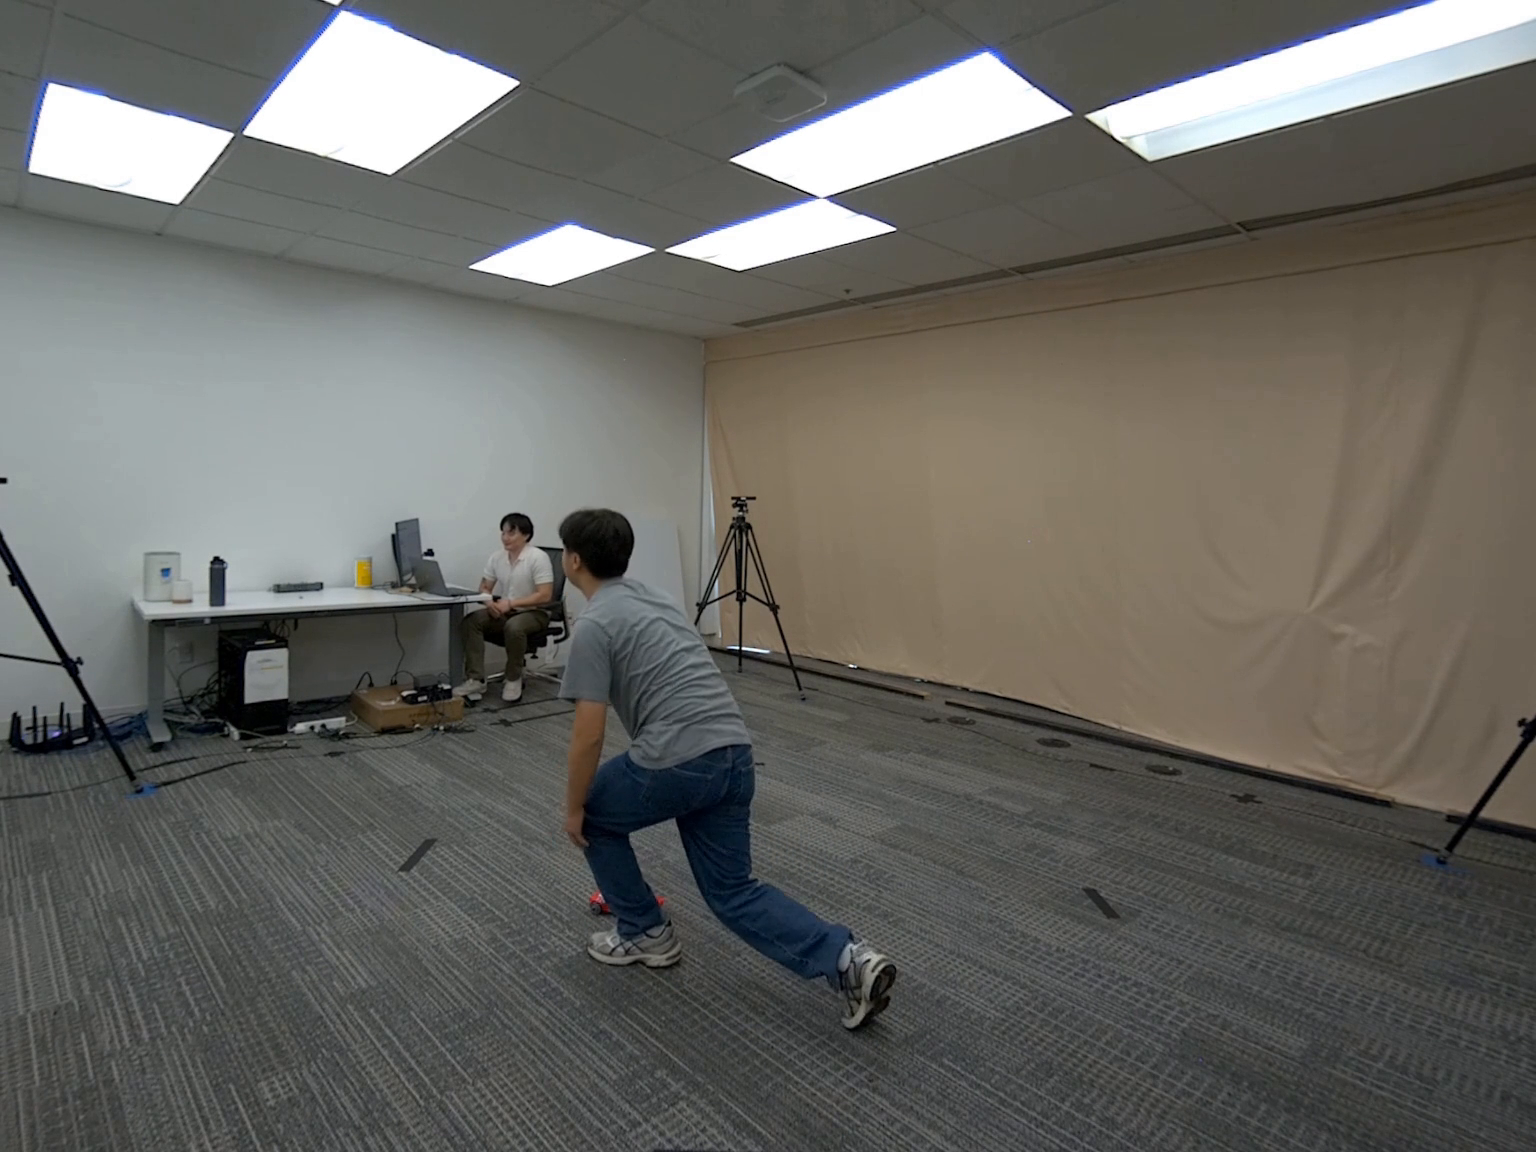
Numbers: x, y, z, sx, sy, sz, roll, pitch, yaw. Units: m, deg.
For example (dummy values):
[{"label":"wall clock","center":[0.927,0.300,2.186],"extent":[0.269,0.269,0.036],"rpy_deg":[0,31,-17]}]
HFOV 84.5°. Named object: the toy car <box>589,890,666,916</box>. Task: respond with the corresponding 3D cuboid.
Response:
[{"label":"toy car","center":[-0.473,1.098,2.806],"extent":[0.258,0.083,0.128],"rpy_deg":[-8,1,20]}]
